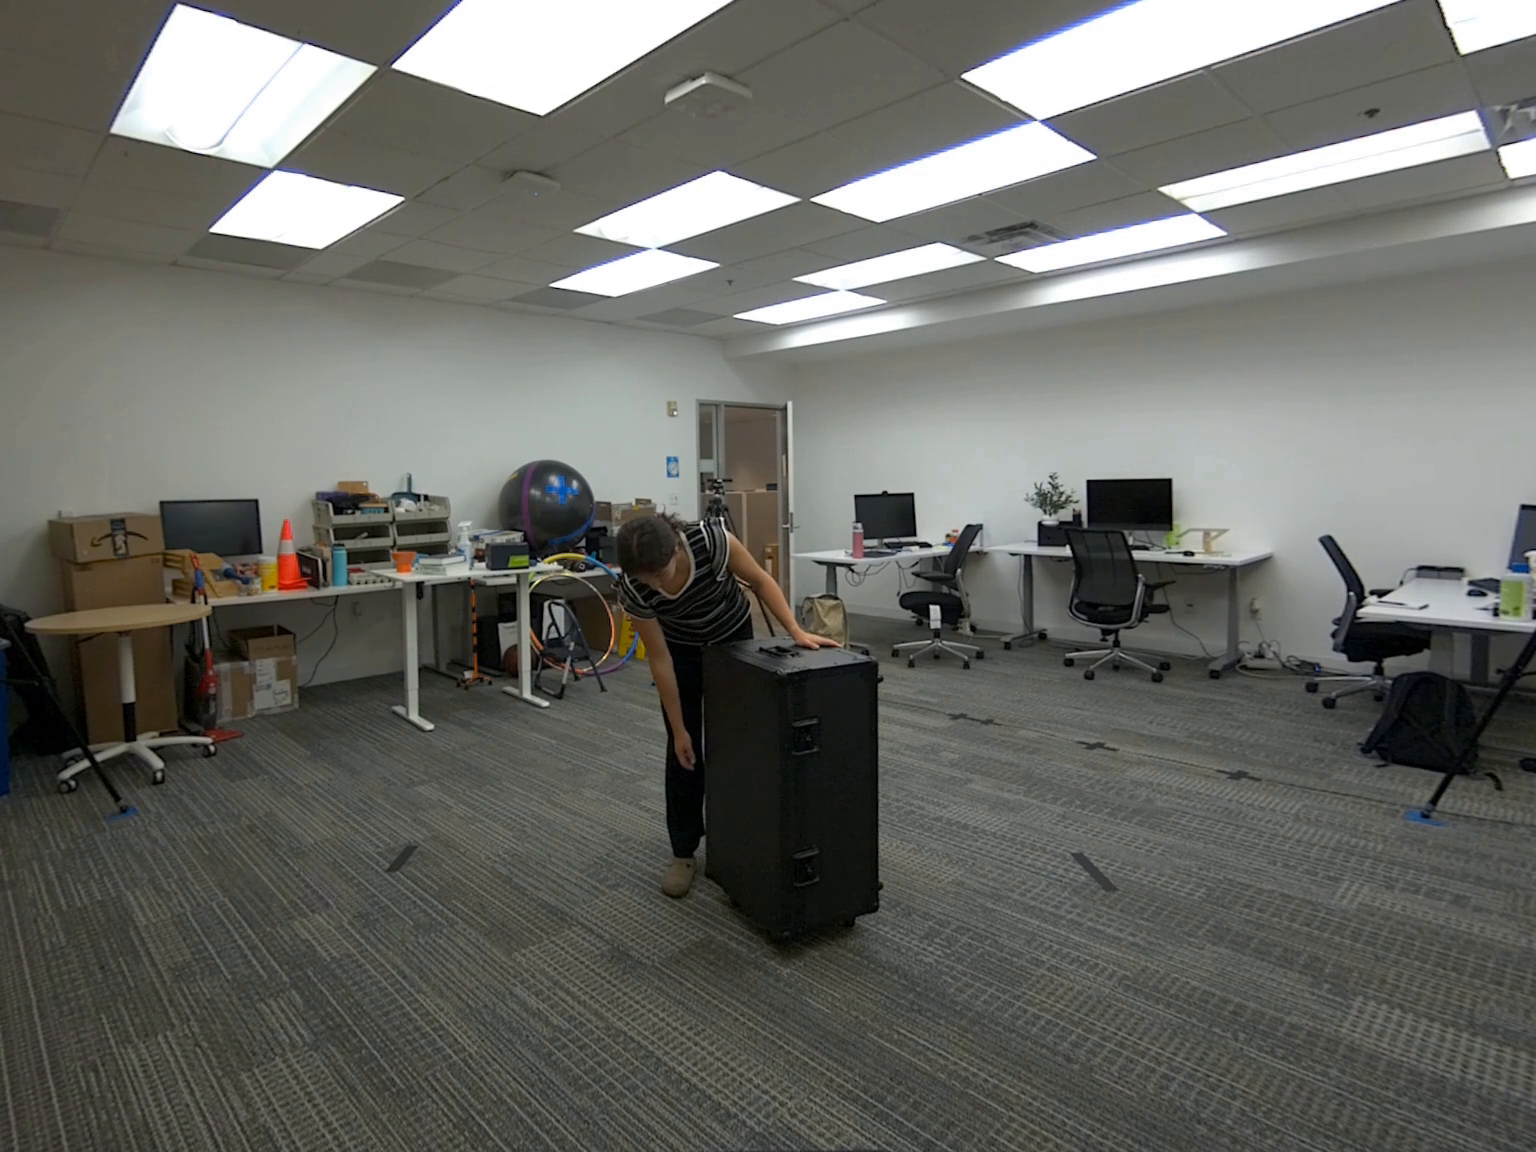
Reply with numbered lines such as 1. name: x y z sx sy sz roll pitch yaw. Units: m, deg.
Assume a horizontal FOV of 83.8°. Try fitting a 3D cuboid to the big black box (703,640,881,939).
1. big black box: 0.072 0.664 2.719 0.387 0.858 0.535 -3 5 -29
